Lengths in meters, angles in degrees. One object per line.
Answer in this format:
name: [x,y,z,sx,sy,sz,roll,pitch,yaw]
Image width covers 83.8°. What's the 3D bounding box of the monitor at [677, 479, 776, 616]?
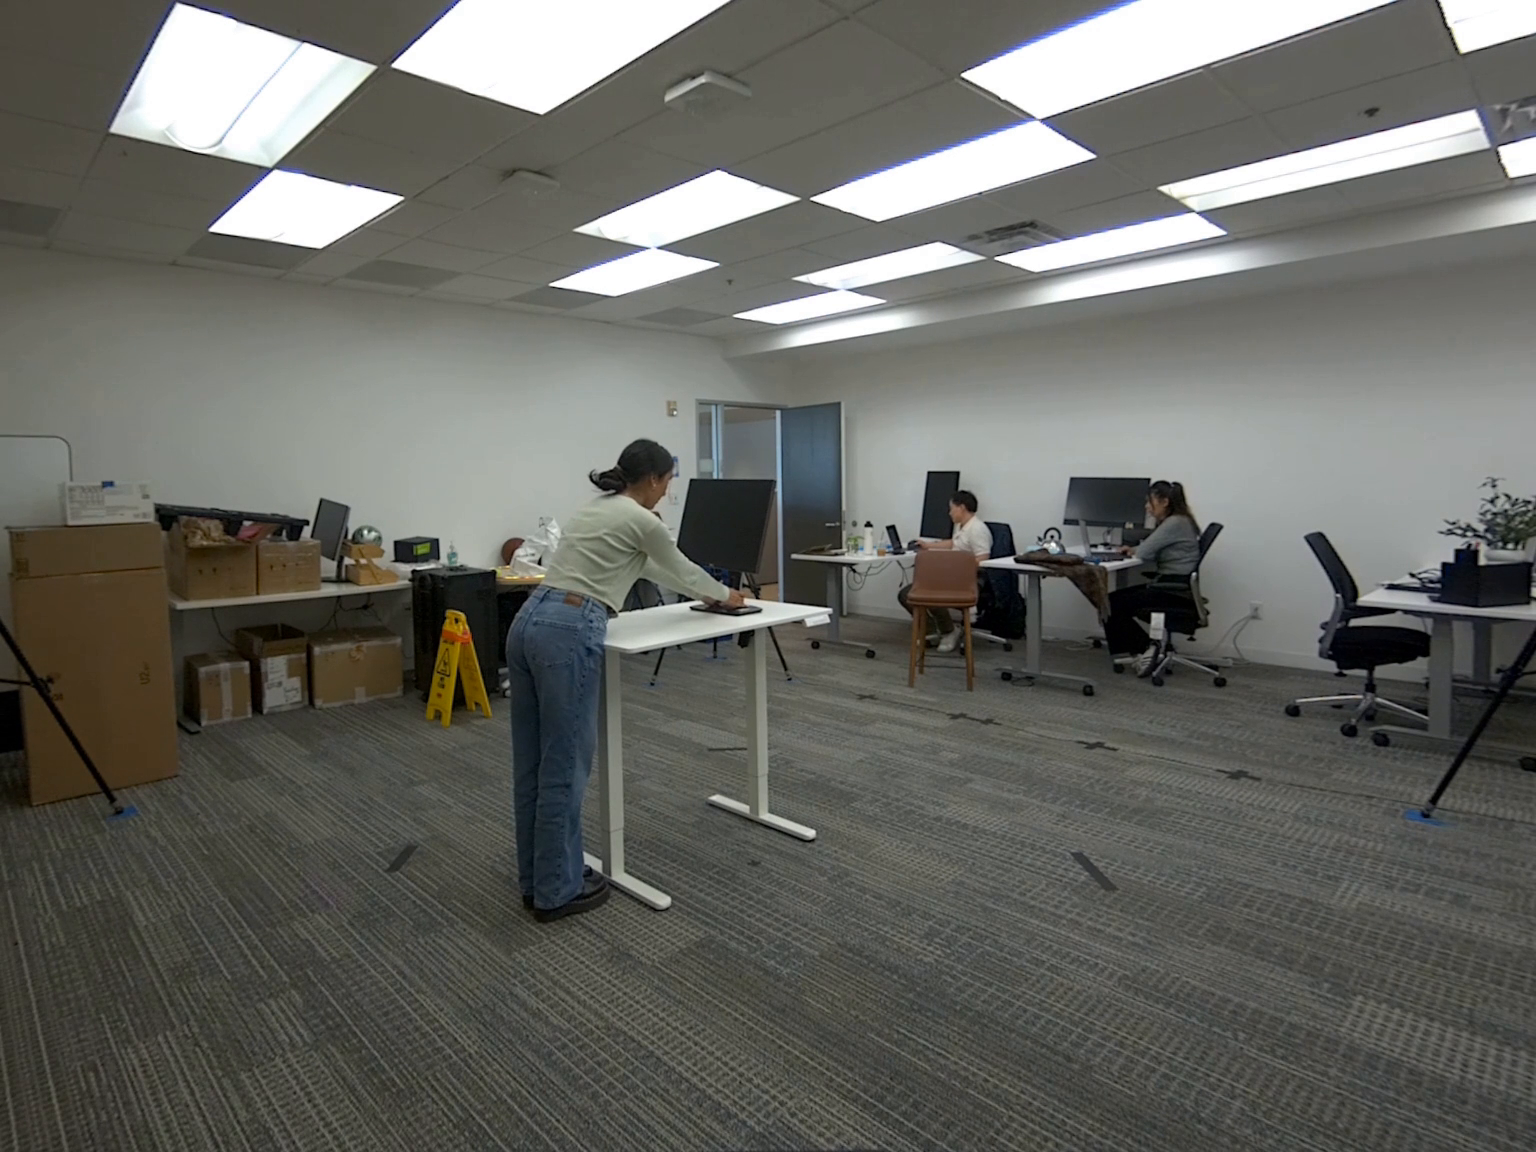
monitor: [-0.154,-0.118,3.339,0.182,0.521,0.556,-2,5,-41]
